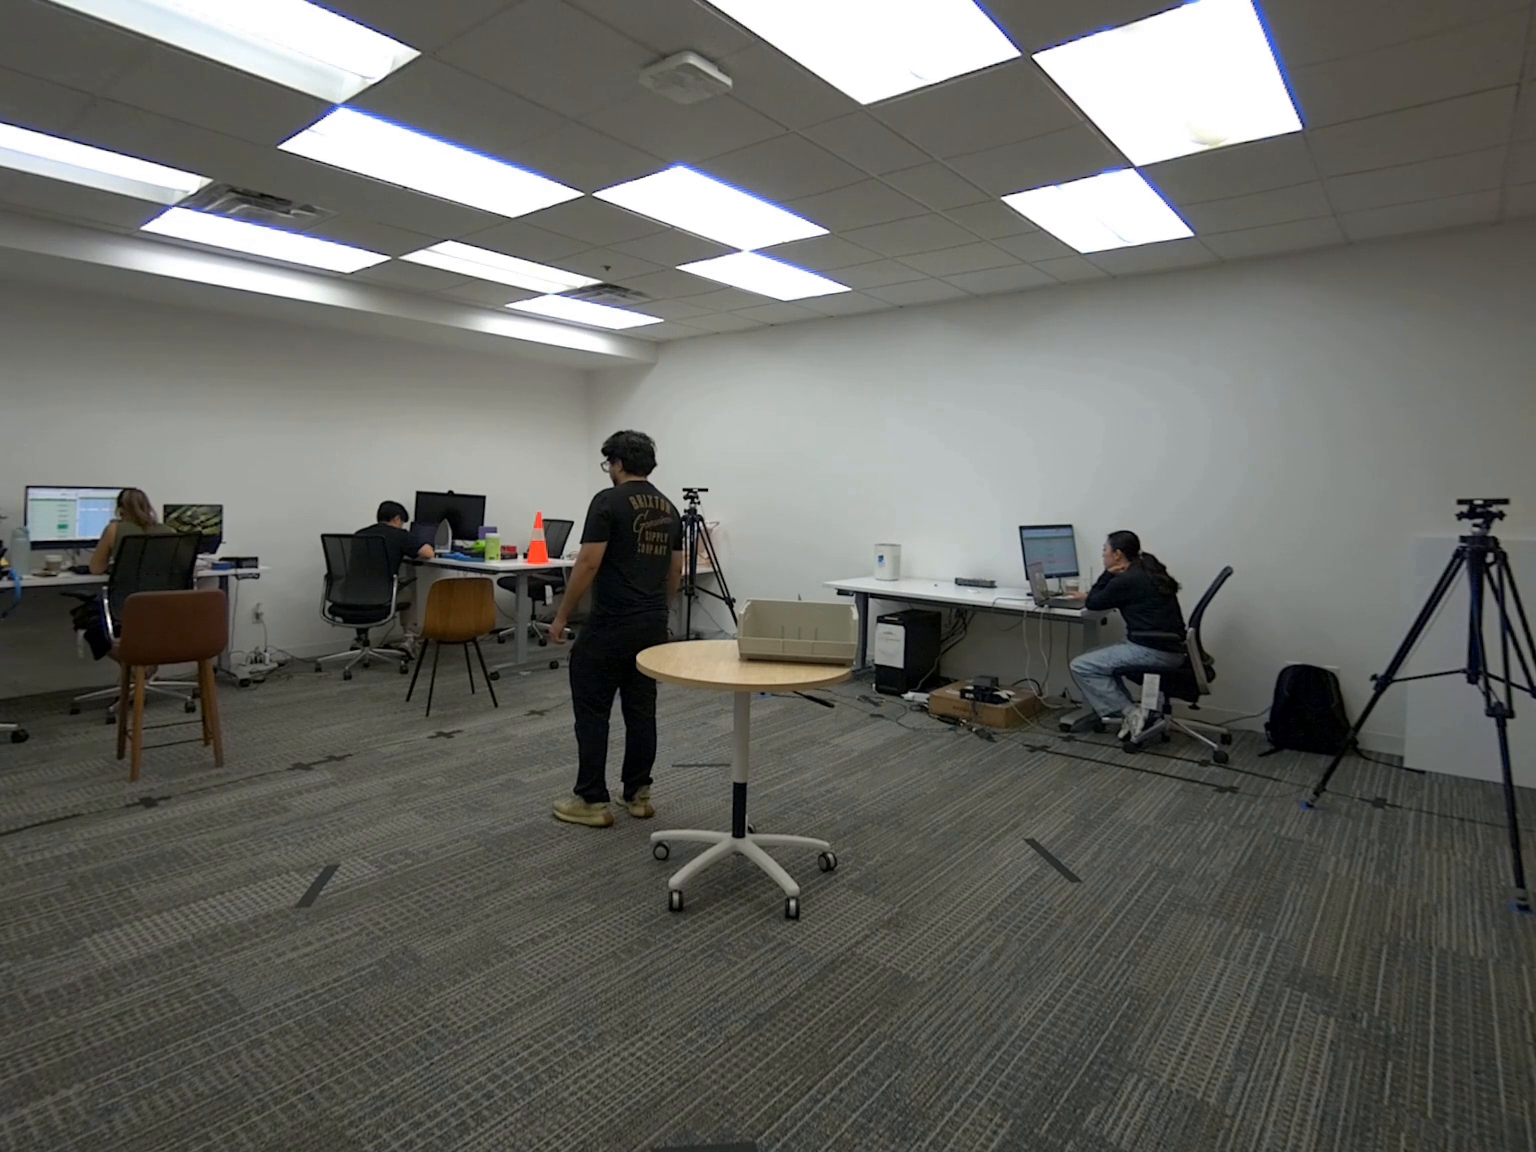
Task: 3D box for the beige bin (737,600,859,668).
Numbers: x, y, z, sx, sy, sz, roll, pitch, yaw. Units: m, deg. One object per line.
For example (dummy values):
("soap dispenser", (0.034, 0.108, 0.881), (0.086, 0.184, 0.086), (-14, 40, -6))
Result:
("beige bin", (0.107, 0.208, 3.124), (0.426, 0.188, 0.376), (2, 4, 6))
